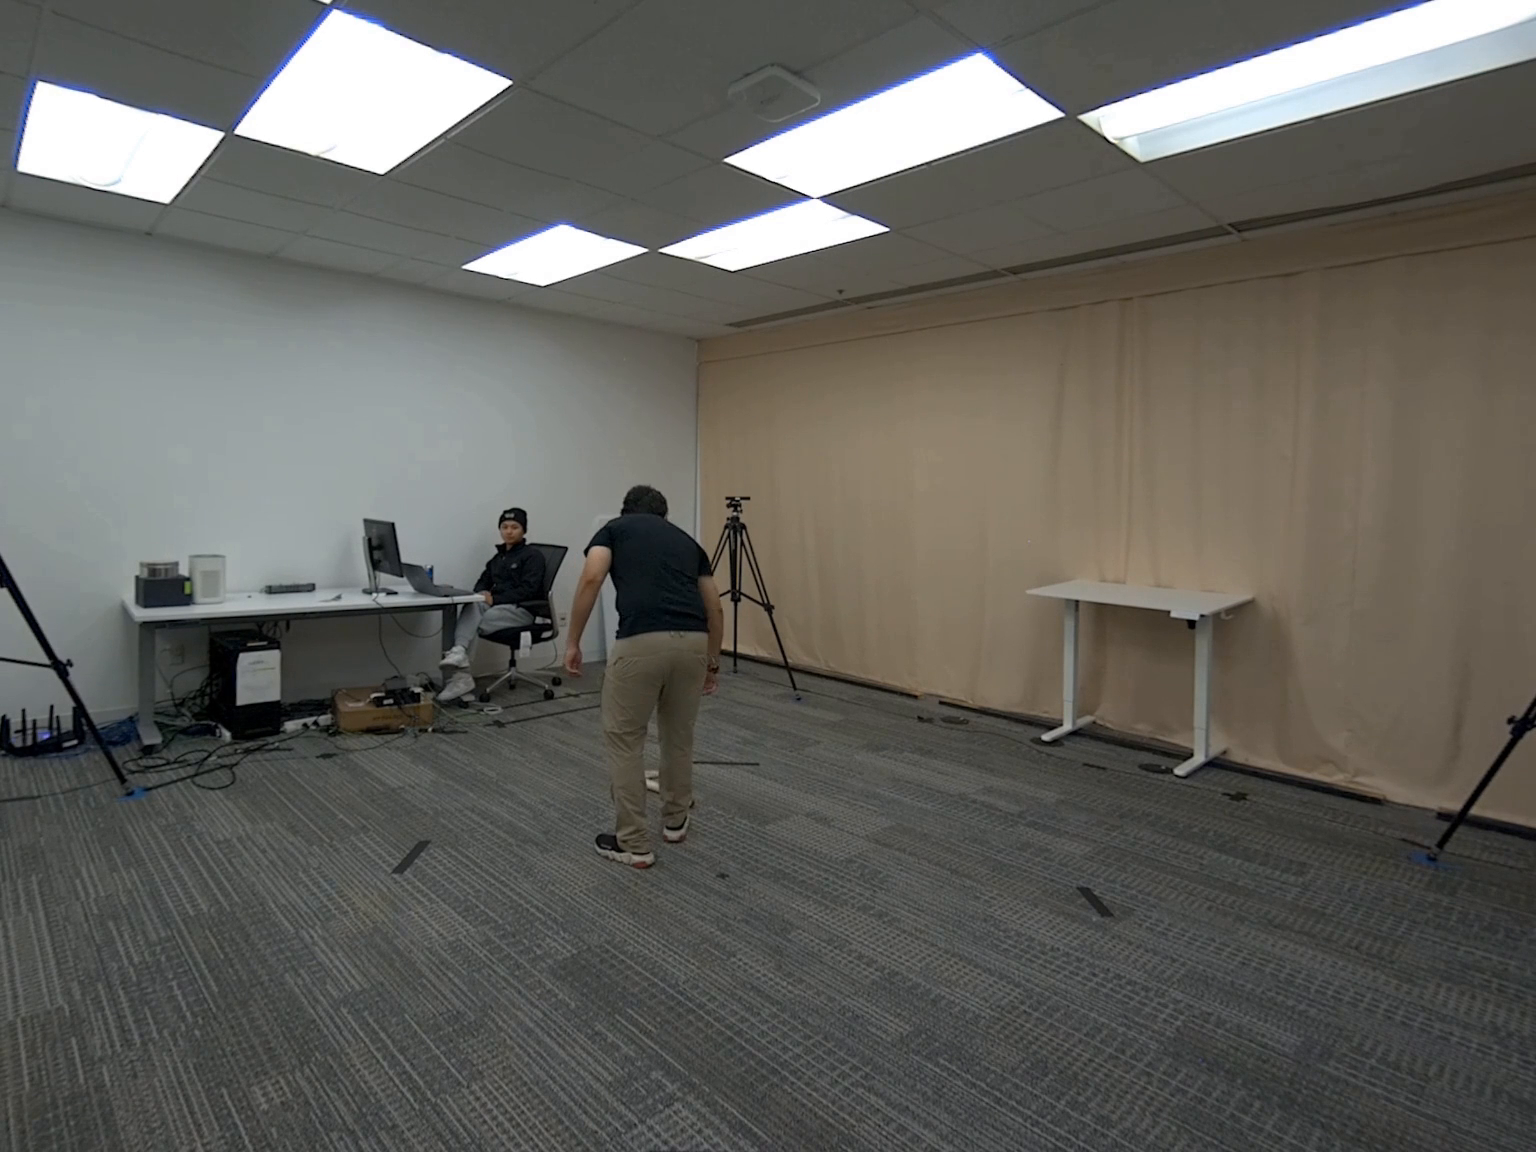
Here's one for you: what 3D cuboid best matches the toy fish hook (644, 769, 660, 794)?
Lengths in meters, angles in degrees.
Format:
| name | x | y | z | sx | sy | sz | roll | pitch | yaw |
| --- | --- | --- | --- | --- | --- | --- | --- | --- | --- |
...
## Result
| name | x | y | z | sx | sy | sz | roll | pitch | yaw |
| --- | --- | --- | --- | --- | --- | --- | --- | --- | --- |
| toy fish hook | -0.466 | 1.006 | 4.008 | 0.219 | 0.048 | 0.519 | -2 | 7 | -38 |
